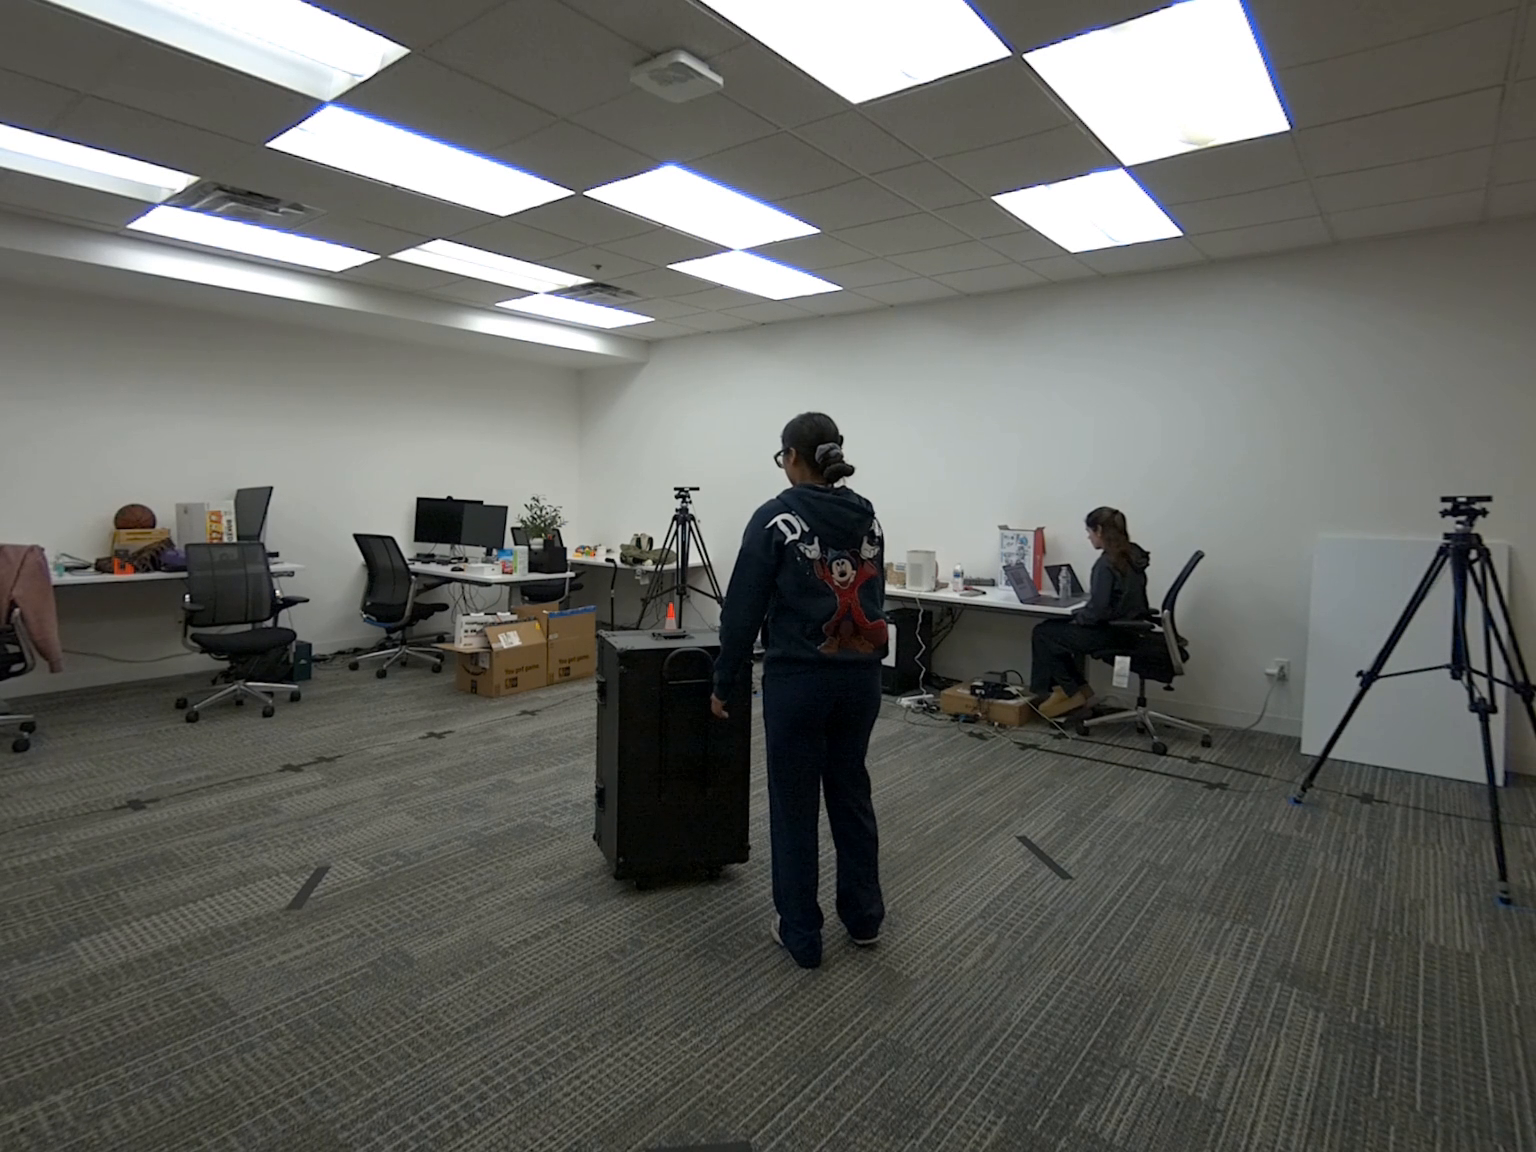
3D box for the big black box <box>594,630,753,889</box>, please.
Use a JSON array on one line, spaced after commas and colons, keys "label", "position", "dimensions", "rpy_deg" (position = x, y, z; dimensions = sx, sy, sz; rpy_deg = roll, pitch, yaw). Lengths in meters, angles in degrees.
[{"label": "big black box", "position": [-0.354, 0.645, 3.066], "dimensions": [0.510, 0.858, 0.406], "rpy_deg": [0, 5, -21]}]
